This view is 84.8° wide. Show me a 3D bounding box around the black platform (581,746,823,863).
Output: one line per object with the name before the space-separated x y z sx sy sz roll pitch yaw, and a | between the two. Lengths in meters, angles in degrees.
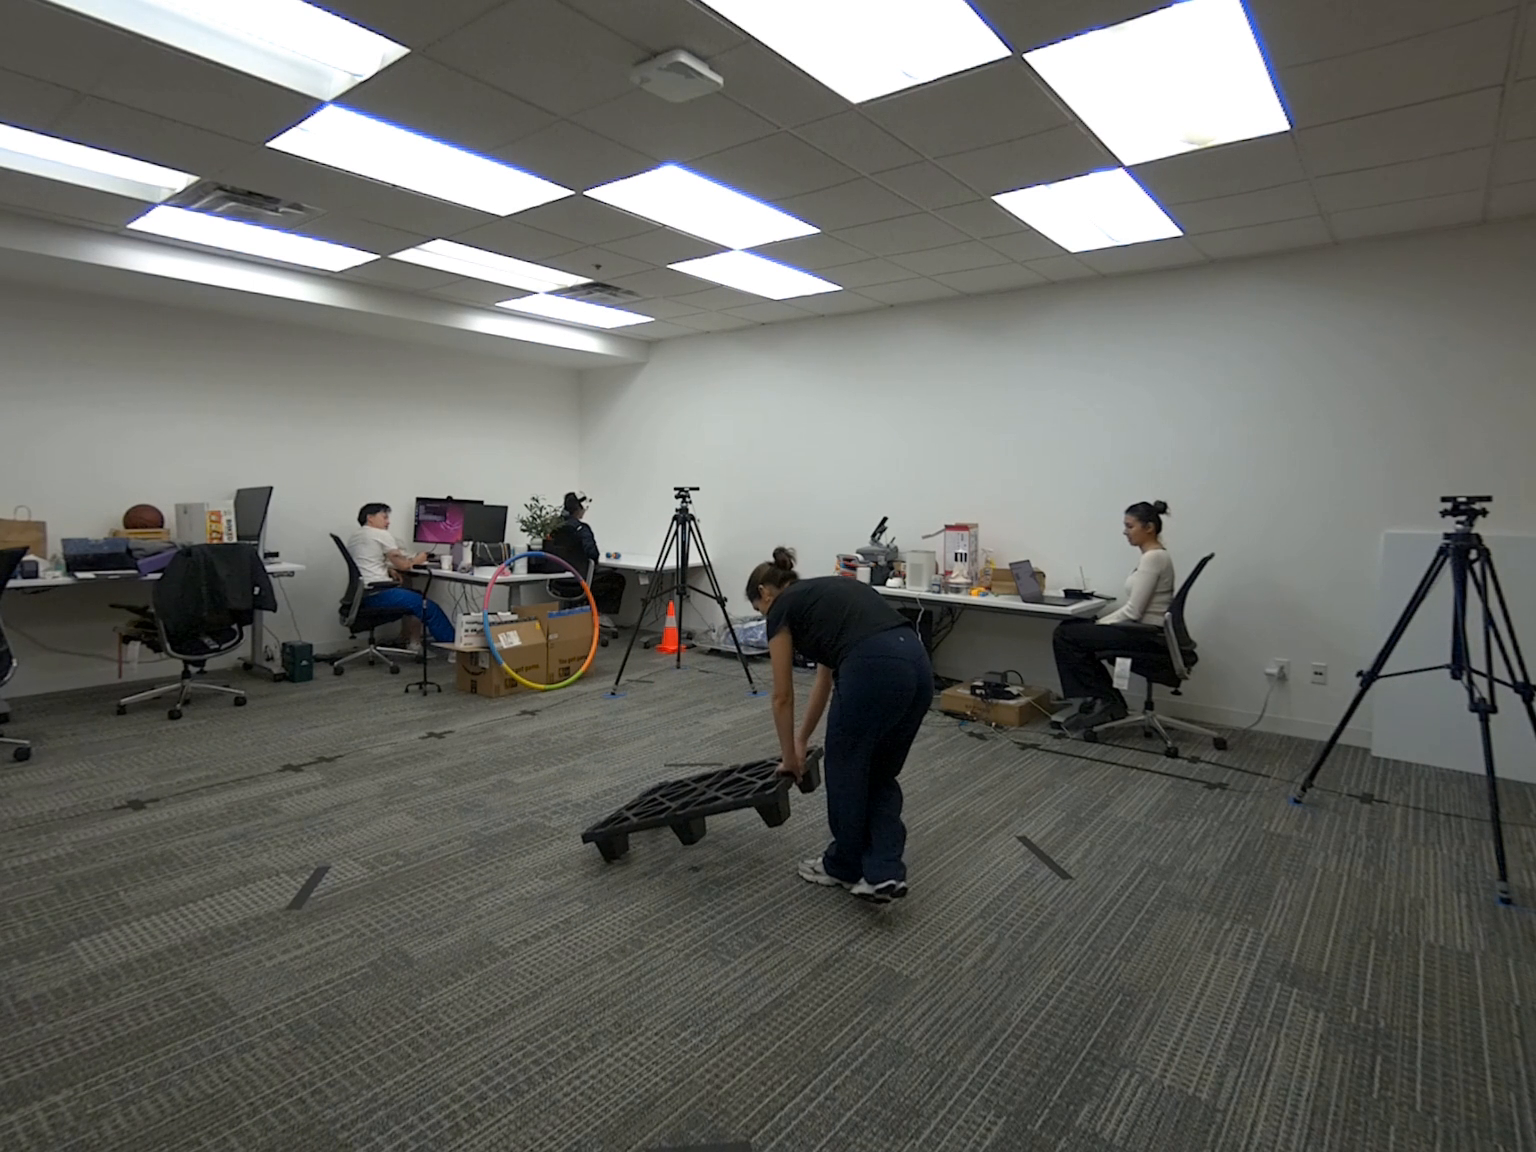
black platform | -0.203 0.866 3.231 0.817 0.144 0.593 -19 -2 23
